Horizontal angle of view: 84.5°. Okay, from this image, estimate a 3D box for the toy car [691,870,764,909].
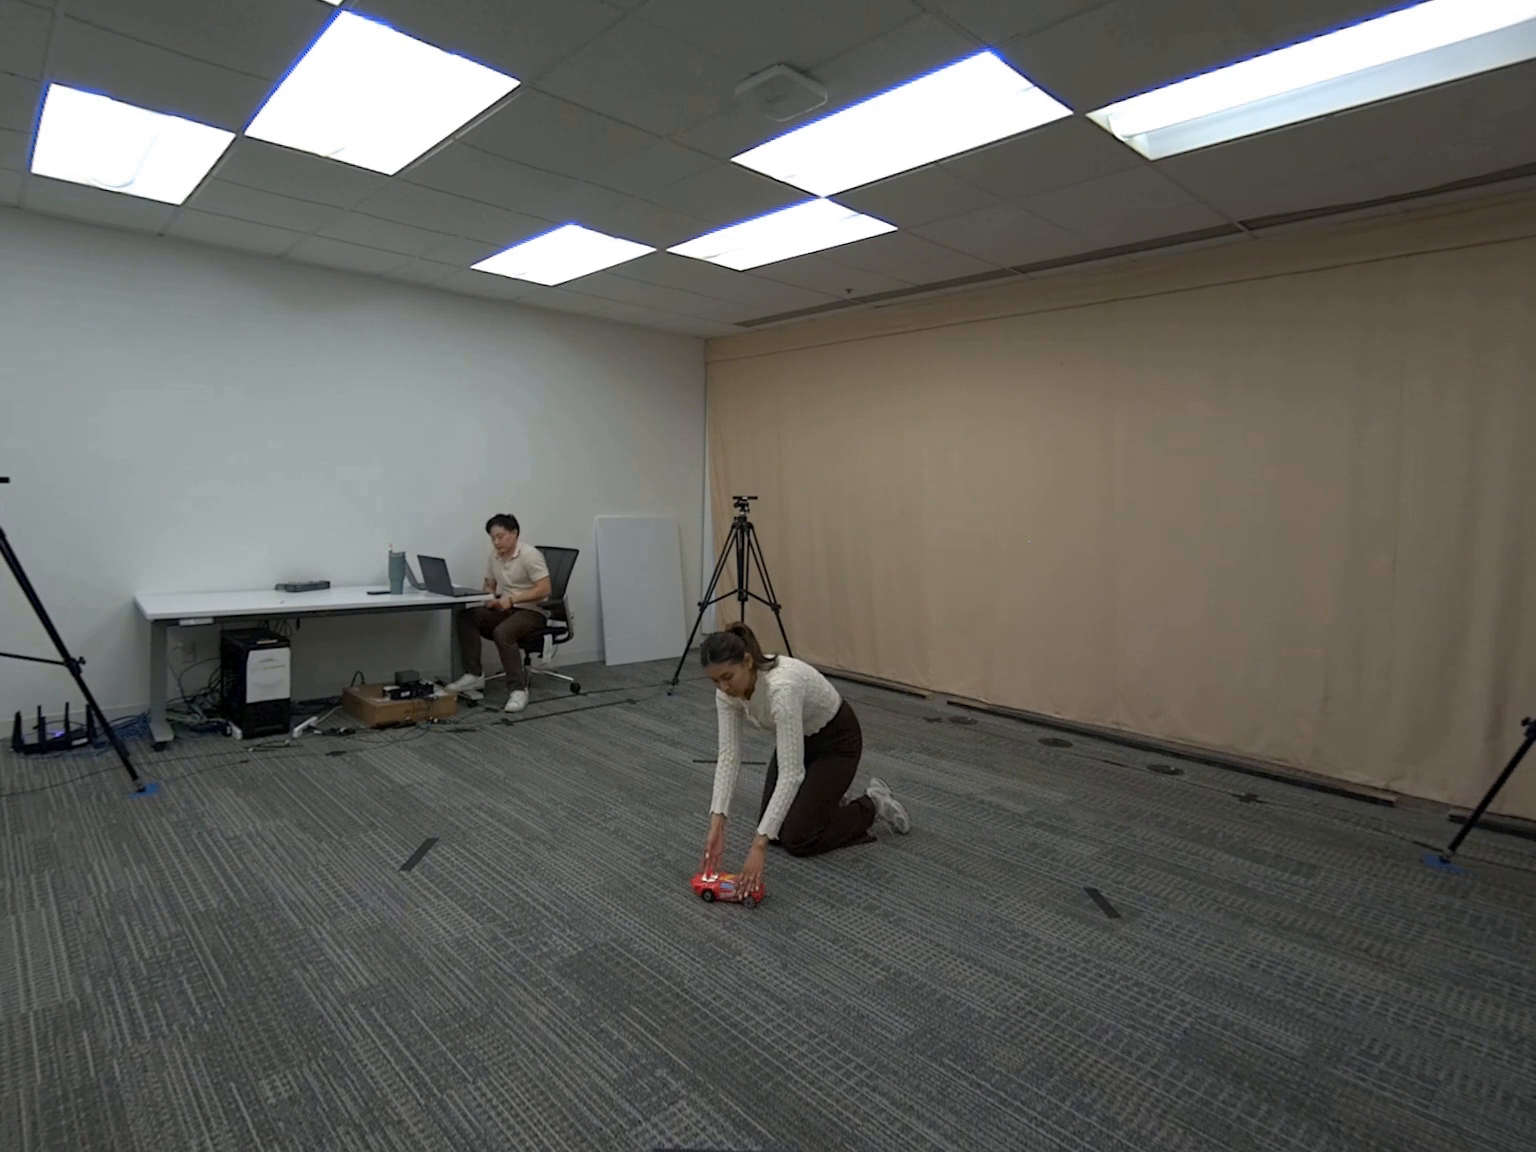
[{"bbox_3d":[-0.154,1.088,2.929,0.257,0.083,0.129,14,7,12],"label":"toy car"}]
